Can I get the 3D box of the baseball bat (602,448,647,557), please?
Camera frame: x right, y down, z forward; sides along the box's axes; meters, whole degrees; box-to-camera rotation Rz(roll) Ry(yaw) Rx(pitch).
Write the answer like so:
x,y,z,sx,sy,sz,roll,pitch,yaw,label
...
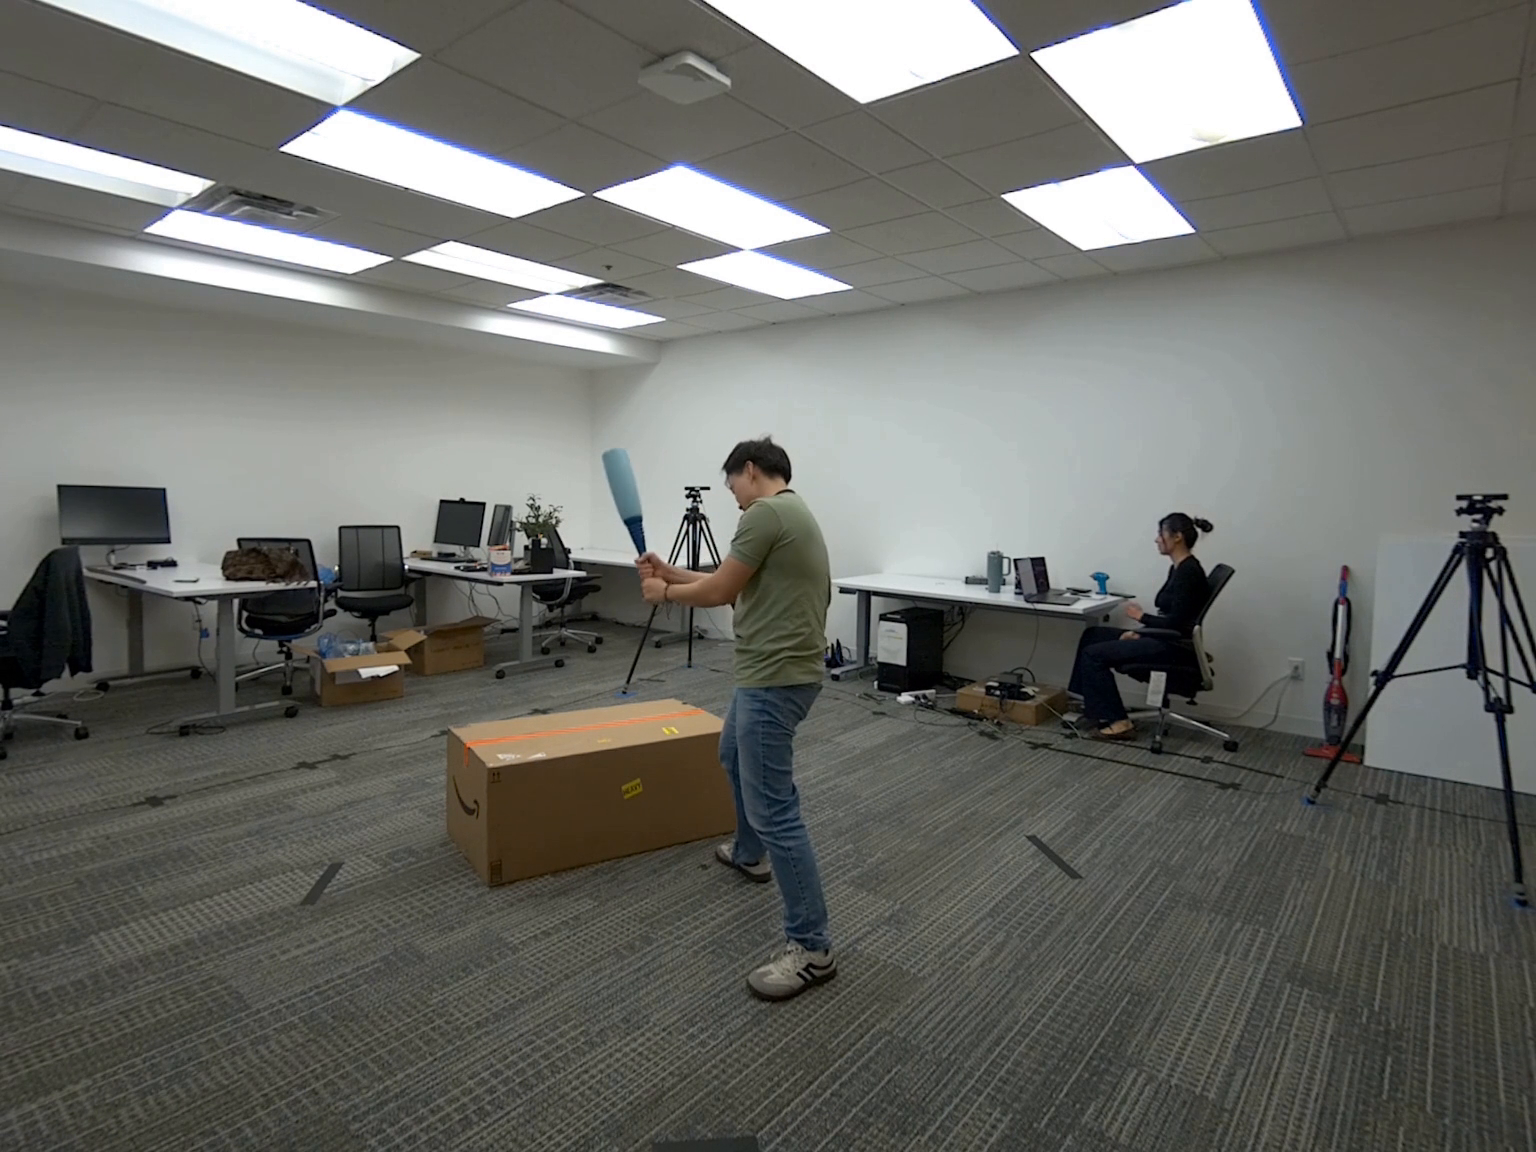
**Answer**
x,y,z,sx,sy,sz,roll,pitch,yaw,label
-0.422,-0.151,2.841,0.089,0.549,0.088,-18,-9,-4,baseball bat
